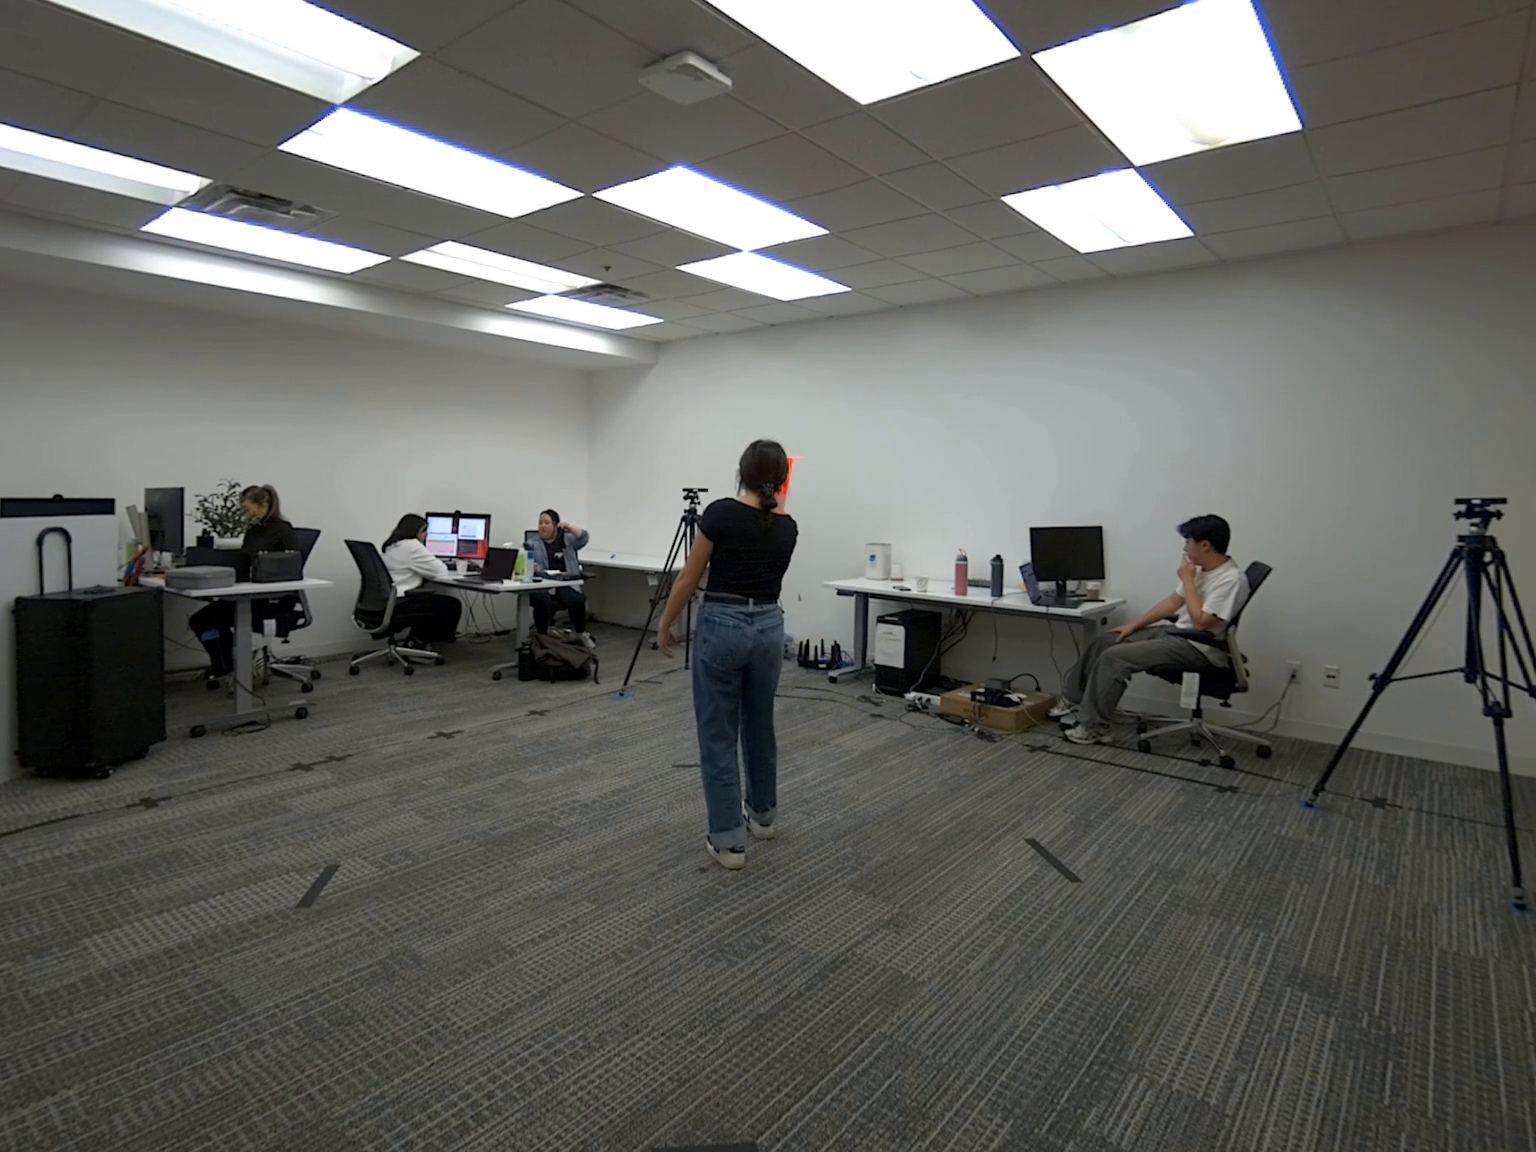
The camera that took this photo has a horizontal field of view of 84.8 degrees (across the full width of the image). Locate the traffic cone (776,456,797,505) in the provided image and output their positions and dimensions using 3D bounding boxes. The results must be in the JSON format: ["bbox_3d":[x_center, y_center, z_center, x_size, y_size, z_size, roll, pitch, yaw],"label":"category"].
[{"bbox_3d":[0.033,-0.348,3.798,0.199,0.380,0.211,-2,10,-22],"label":"traffic cone"}]
